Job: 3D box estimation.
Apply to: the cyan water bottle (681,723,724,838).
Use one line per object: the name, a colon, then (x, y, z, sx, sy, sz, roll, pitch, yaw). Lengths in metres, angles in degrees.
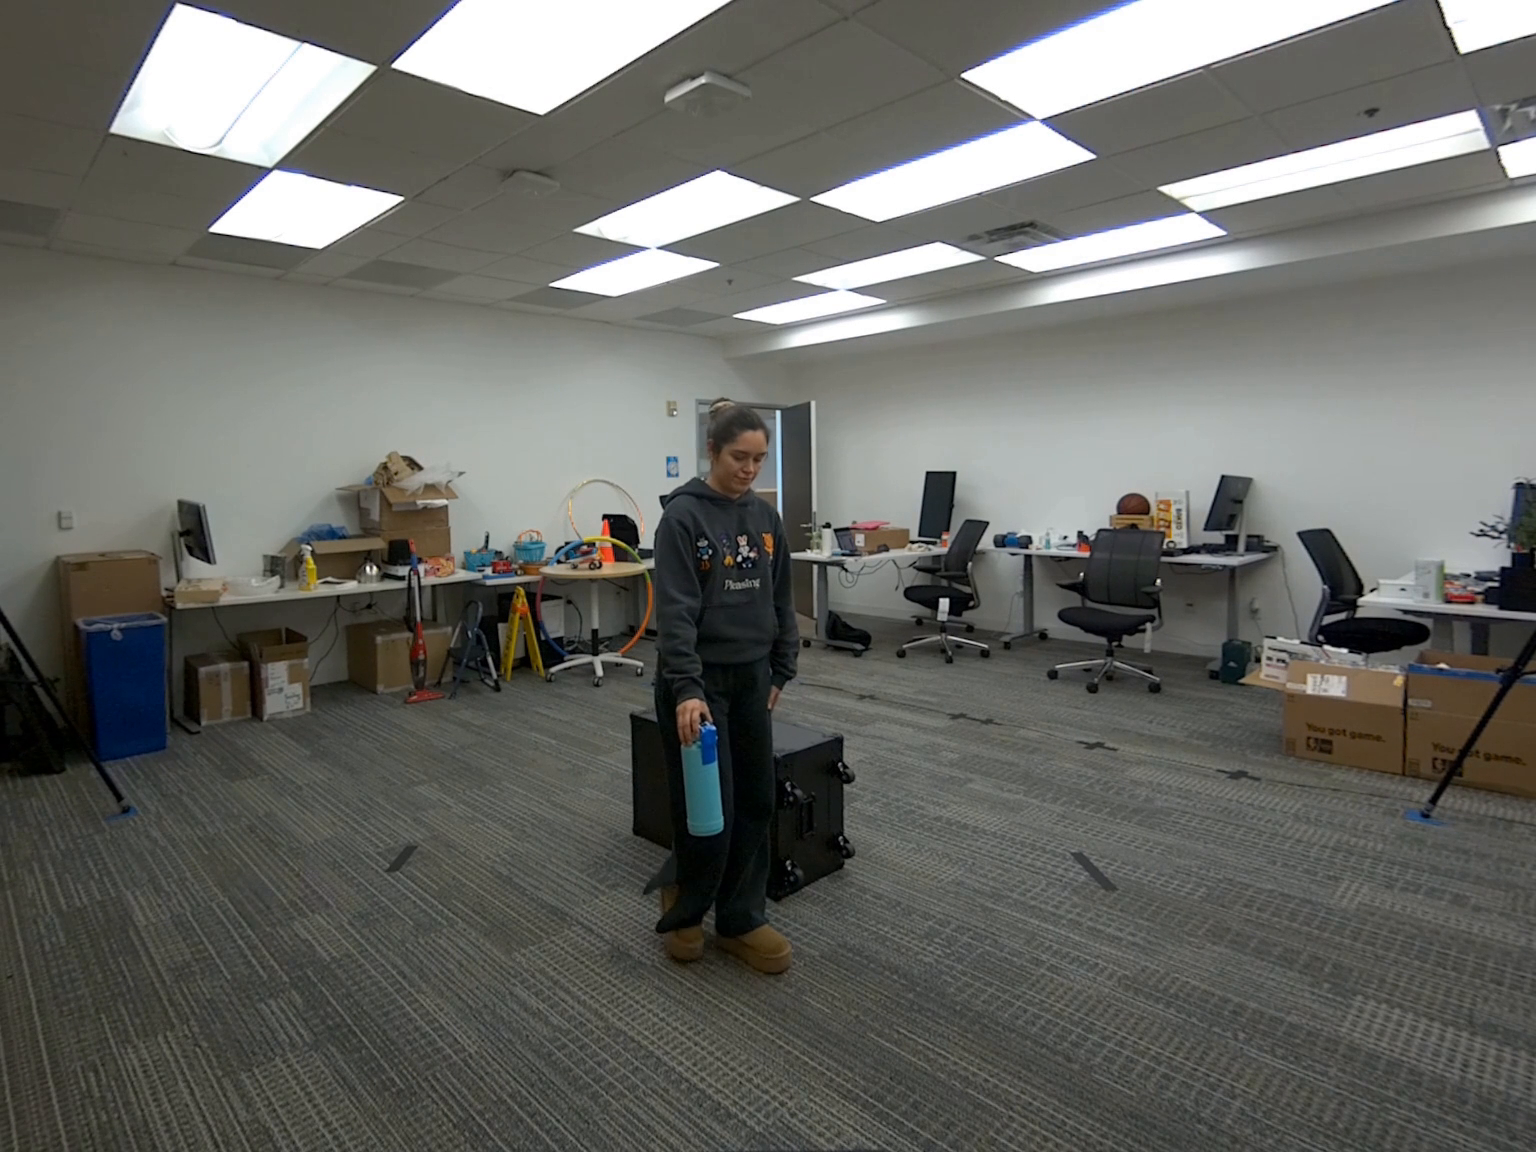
cyan water bottle: (-0.169, 0.504, 2.144, 0.092, 0.283, 0.092, -2, 0, -2)
